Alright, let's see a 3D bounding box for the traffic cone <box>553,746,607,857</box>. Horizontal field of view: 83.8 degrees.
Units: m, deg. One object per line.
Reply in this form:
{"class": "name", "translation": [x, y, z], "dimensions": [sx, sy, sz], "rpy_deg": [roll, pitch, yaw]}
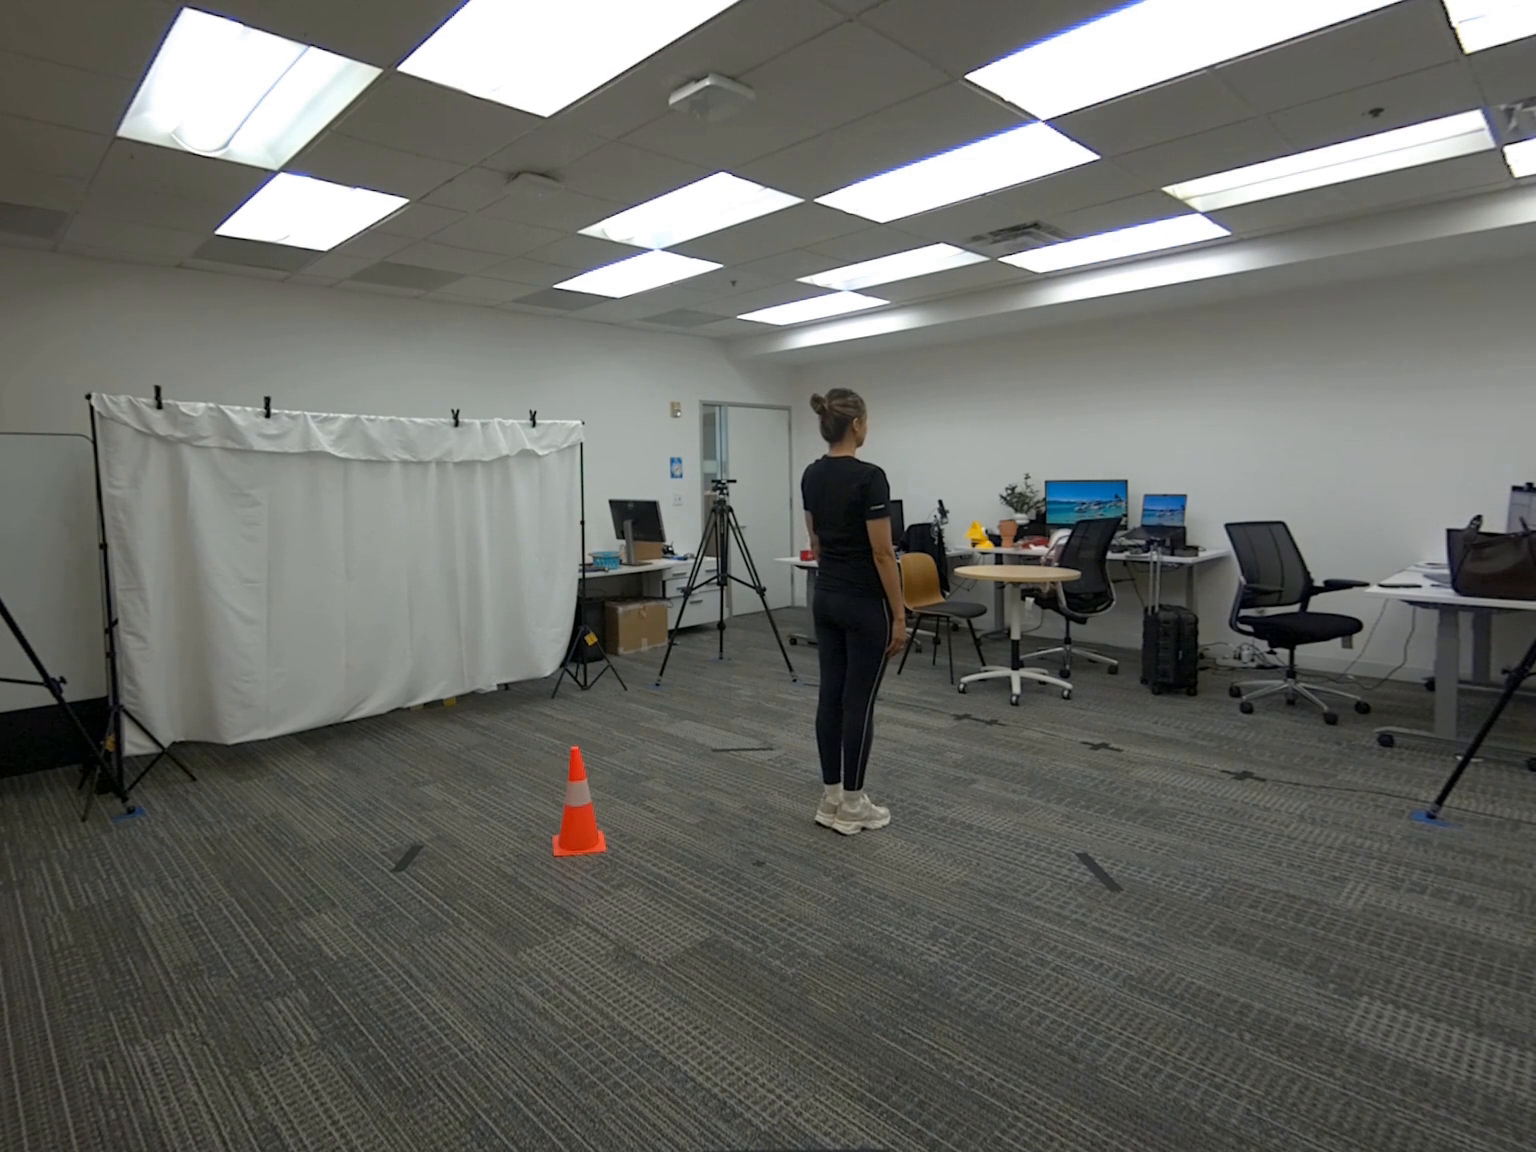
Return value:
{"class": "traffic cone", "translation": [-0.746, 0.855, 3.304], "dimensions": [0.202, 0.382, 0.207], "rpy_deg": [-2, 3, -18]}
